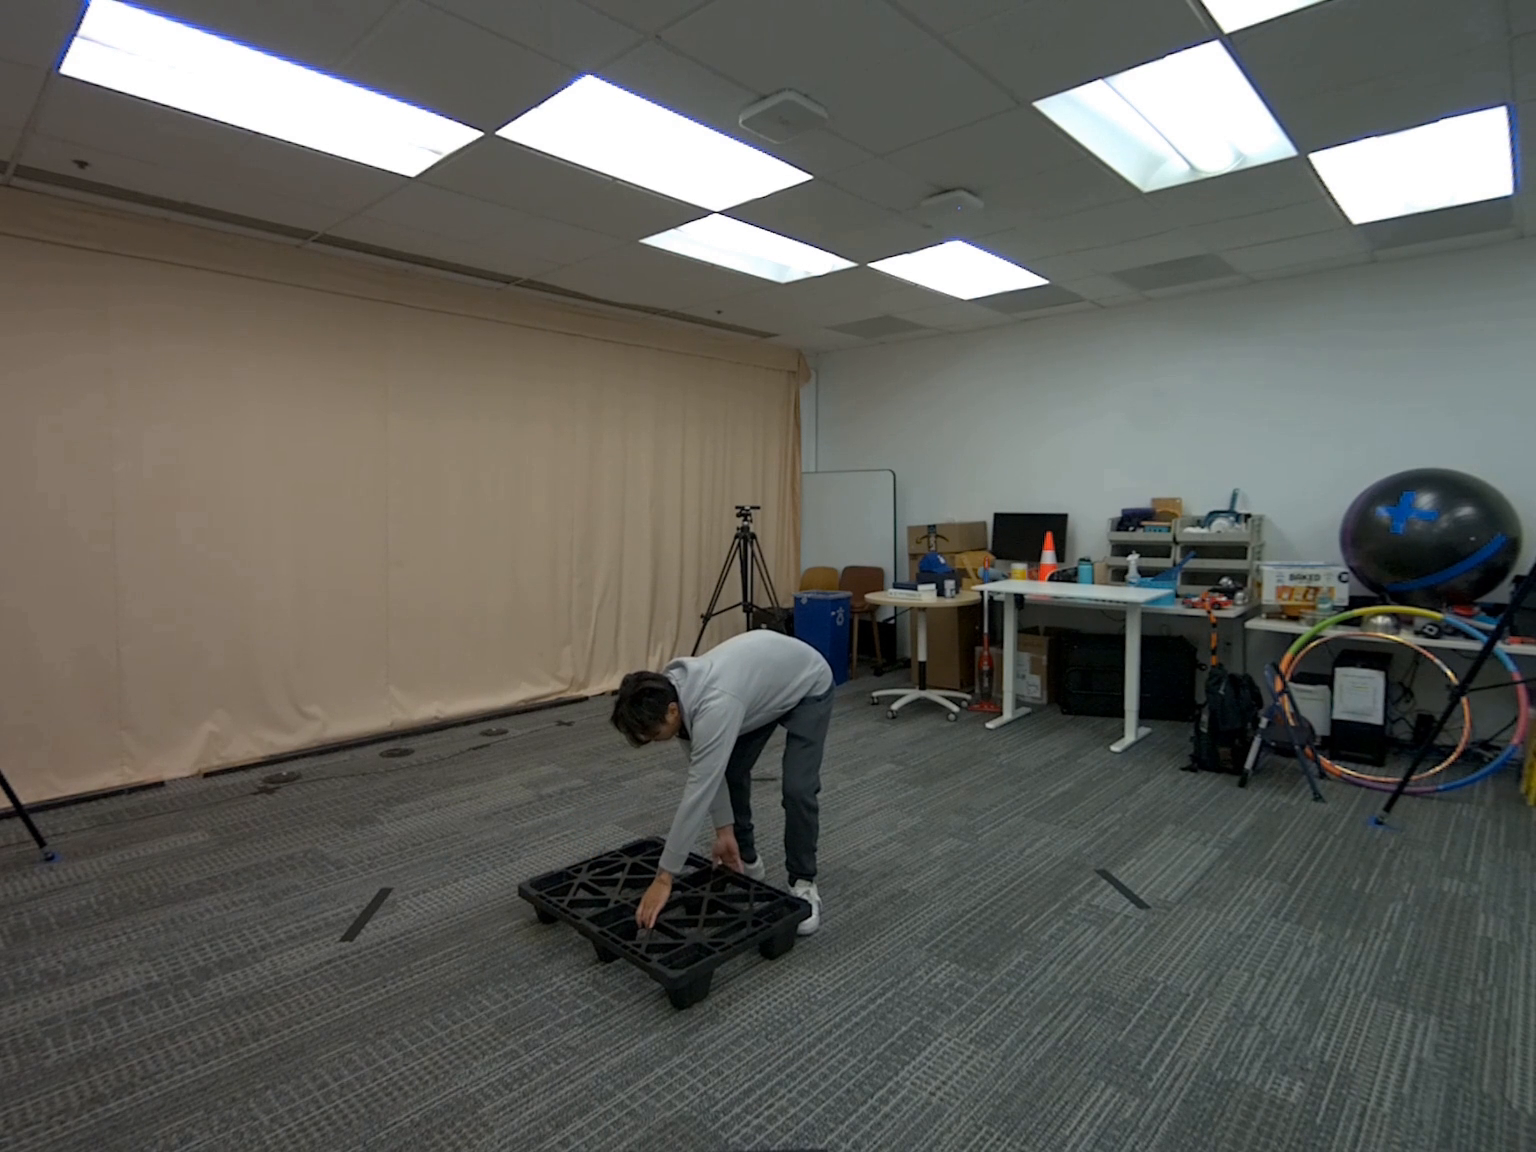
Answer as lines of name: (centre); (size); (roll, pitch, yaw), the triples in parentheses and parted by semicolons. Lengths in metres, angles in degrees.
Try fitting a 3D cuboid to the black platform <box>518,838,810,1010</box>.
black platform: (-0.352, 1.101, 2.732); (0.832, 0.143, 0.587); (4, 7, 44)
